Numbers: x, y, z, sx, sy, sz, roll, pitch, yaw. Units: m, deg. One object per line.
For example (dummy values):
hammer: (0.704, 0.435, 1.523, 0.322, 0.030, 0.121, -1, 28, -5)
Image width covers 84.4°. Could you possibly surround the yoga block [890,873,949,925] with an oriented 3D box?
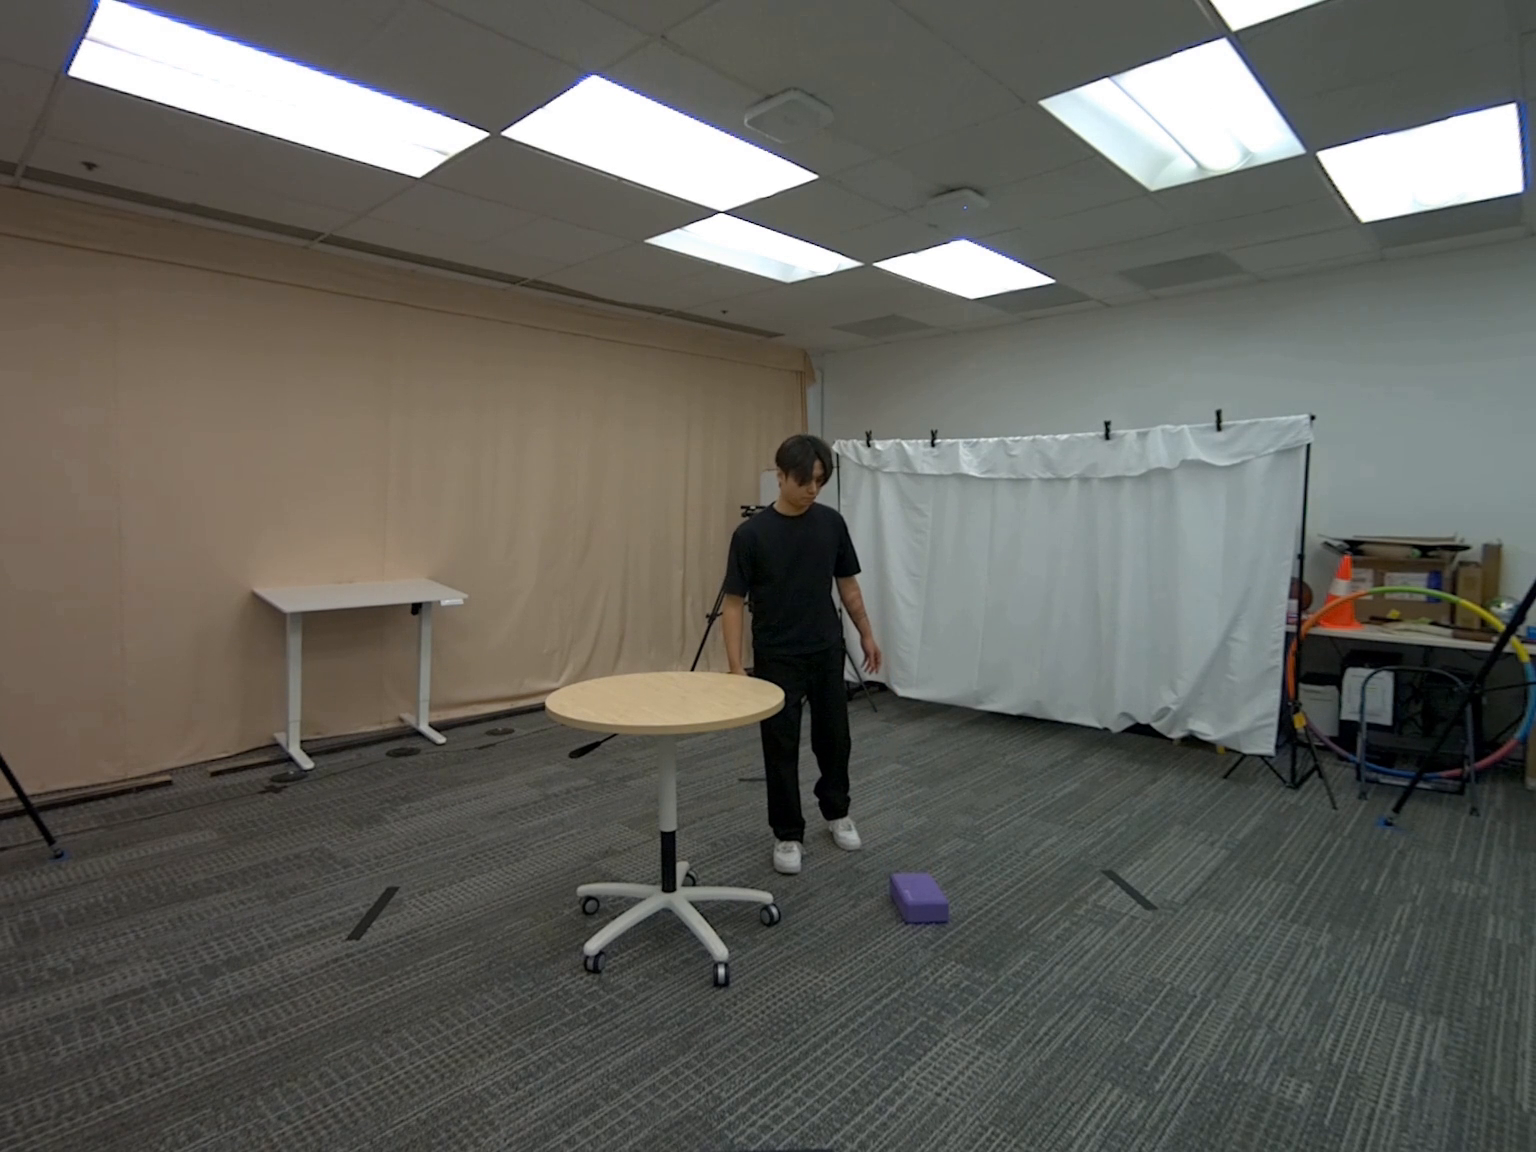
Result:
yoga block: (0.527, 1.112, 2.902, 0.148, 0.076, 0.230, -1, 4, -4)
